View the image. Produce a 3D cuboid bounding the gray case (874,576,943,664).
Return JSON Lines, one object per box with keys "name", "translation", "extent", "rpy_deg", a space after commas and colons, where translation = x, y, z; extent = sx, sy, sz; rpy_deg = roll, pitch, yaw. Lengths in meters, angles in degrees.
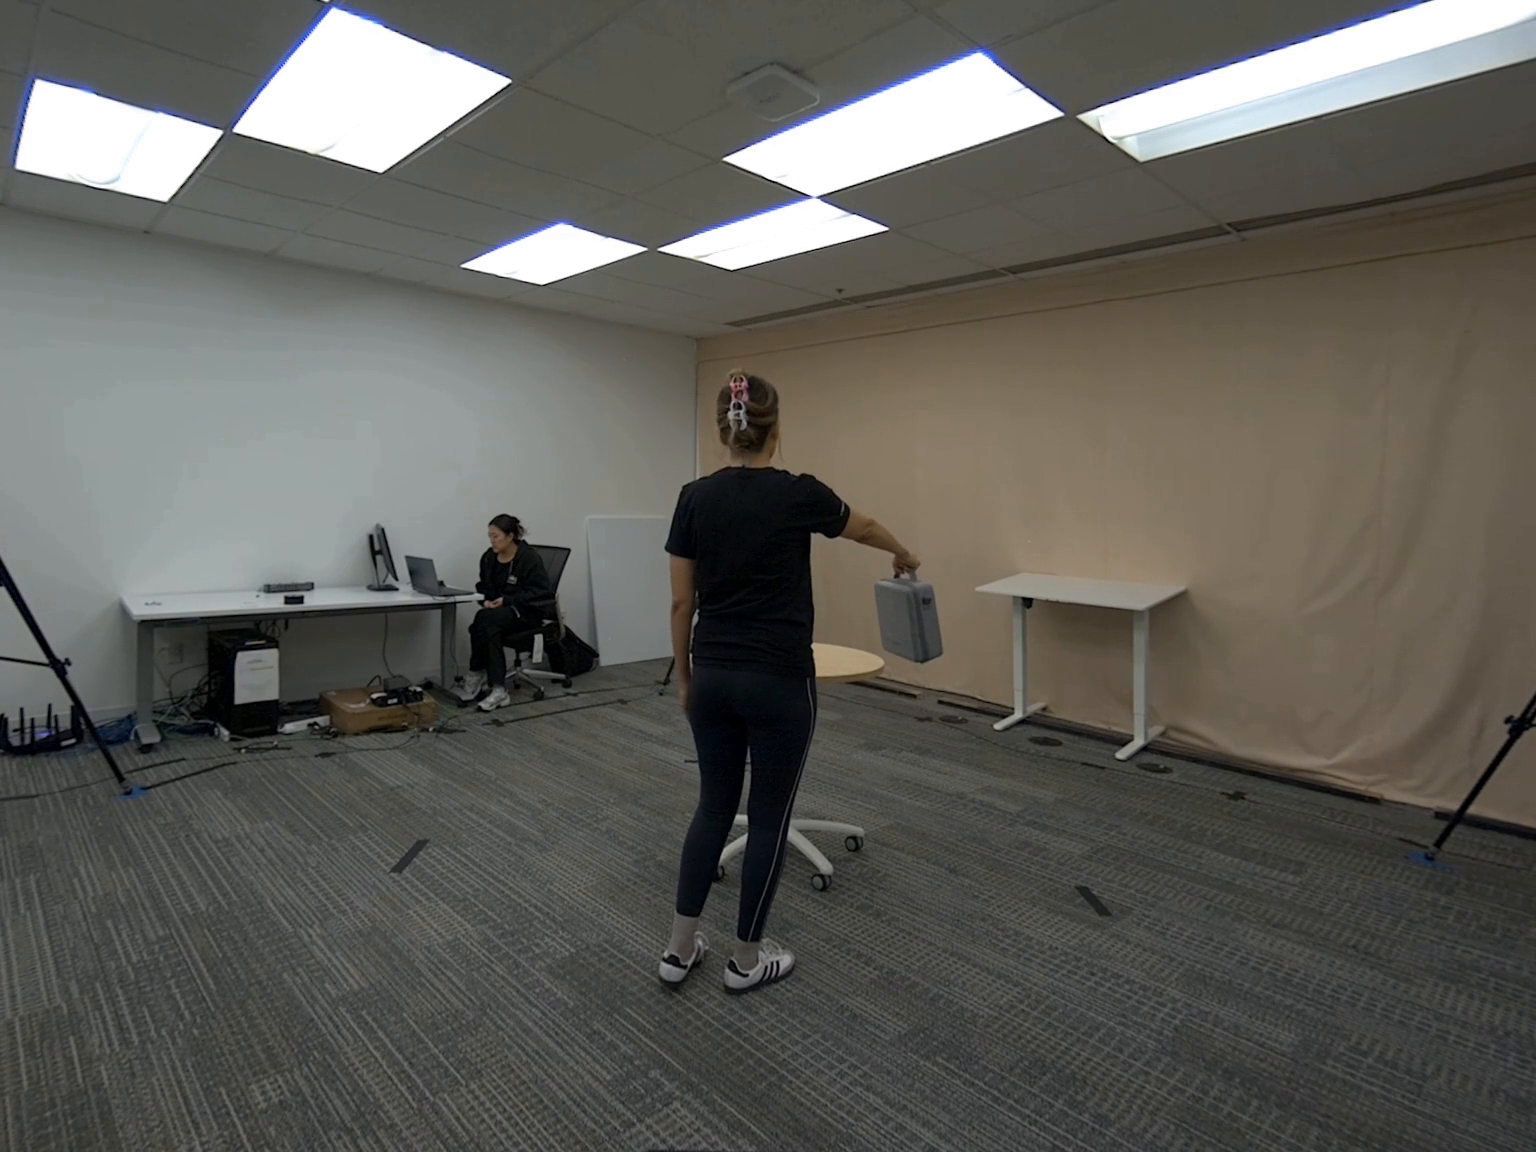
{"name": "gray case", "translation": [0.449, 0.132, 2.750], "extent": [0.103, 0.259, 0.261], "rpy_deg": [-10, 8, -16]}
